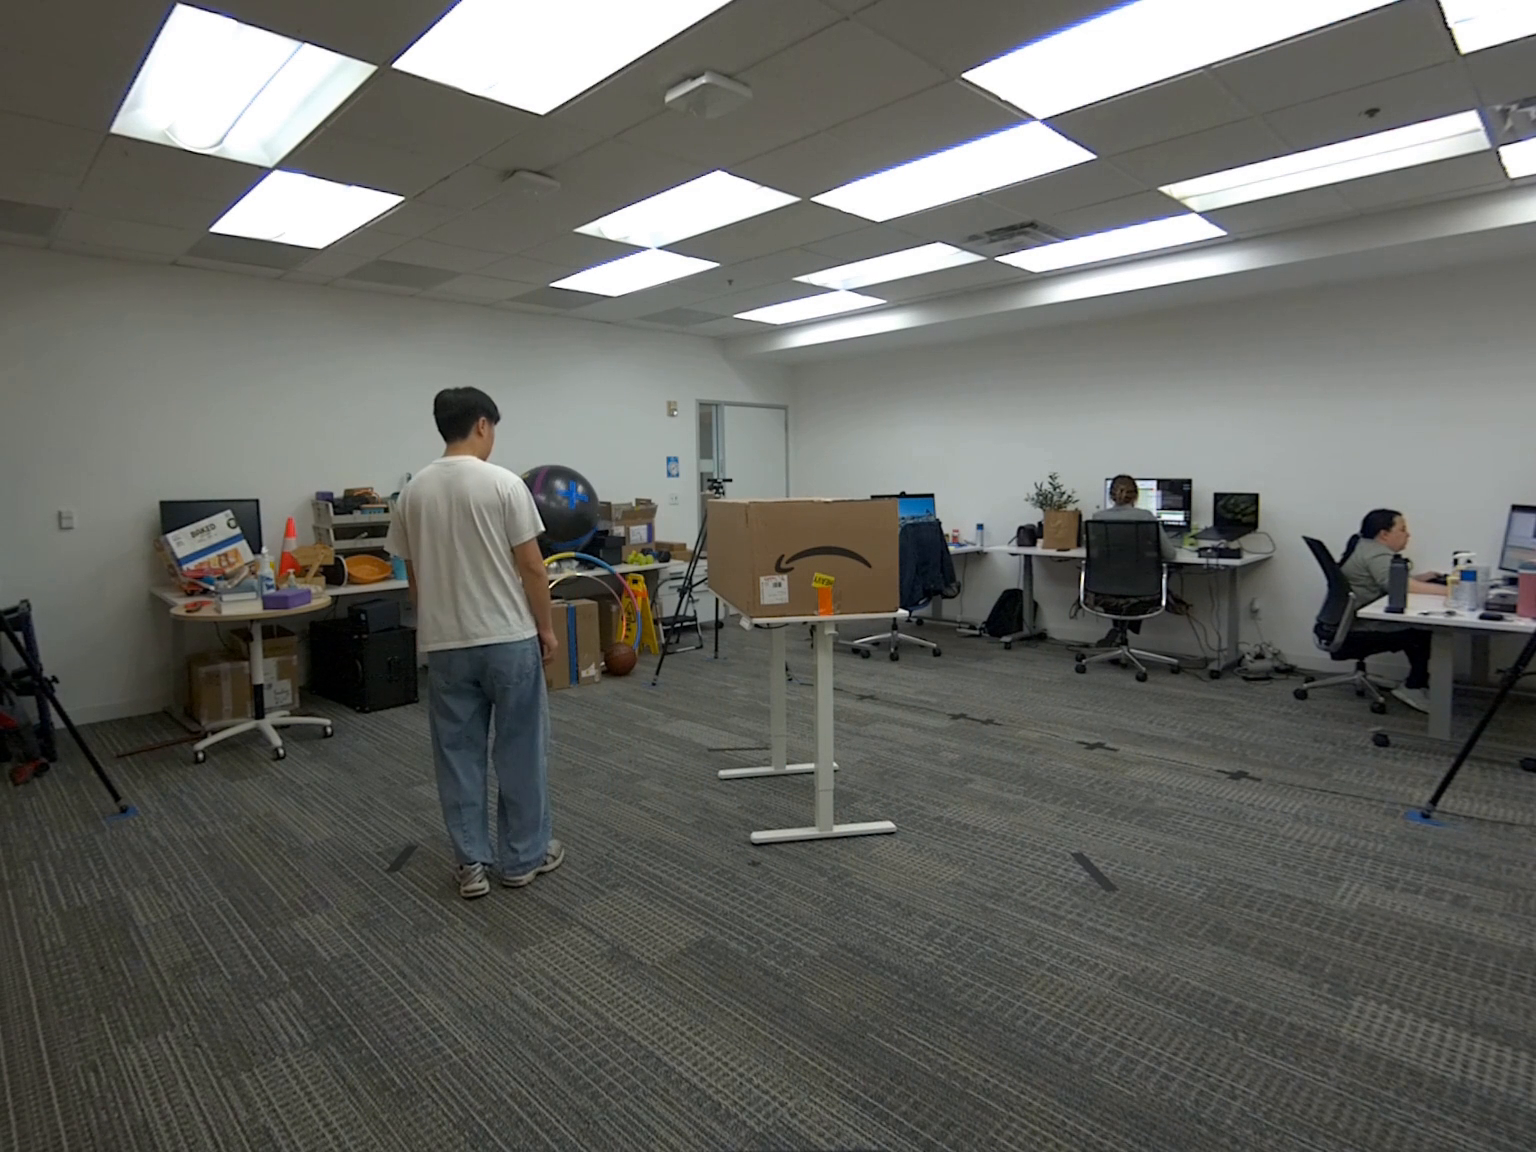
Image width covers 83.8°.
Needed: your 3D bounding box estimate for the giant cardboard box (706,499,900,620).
[{"bbox_3d":[0.097,-0.111,3.646,0.572,0.424,1.040,-3,6,-12],"label":"giant cardboard box"}]
